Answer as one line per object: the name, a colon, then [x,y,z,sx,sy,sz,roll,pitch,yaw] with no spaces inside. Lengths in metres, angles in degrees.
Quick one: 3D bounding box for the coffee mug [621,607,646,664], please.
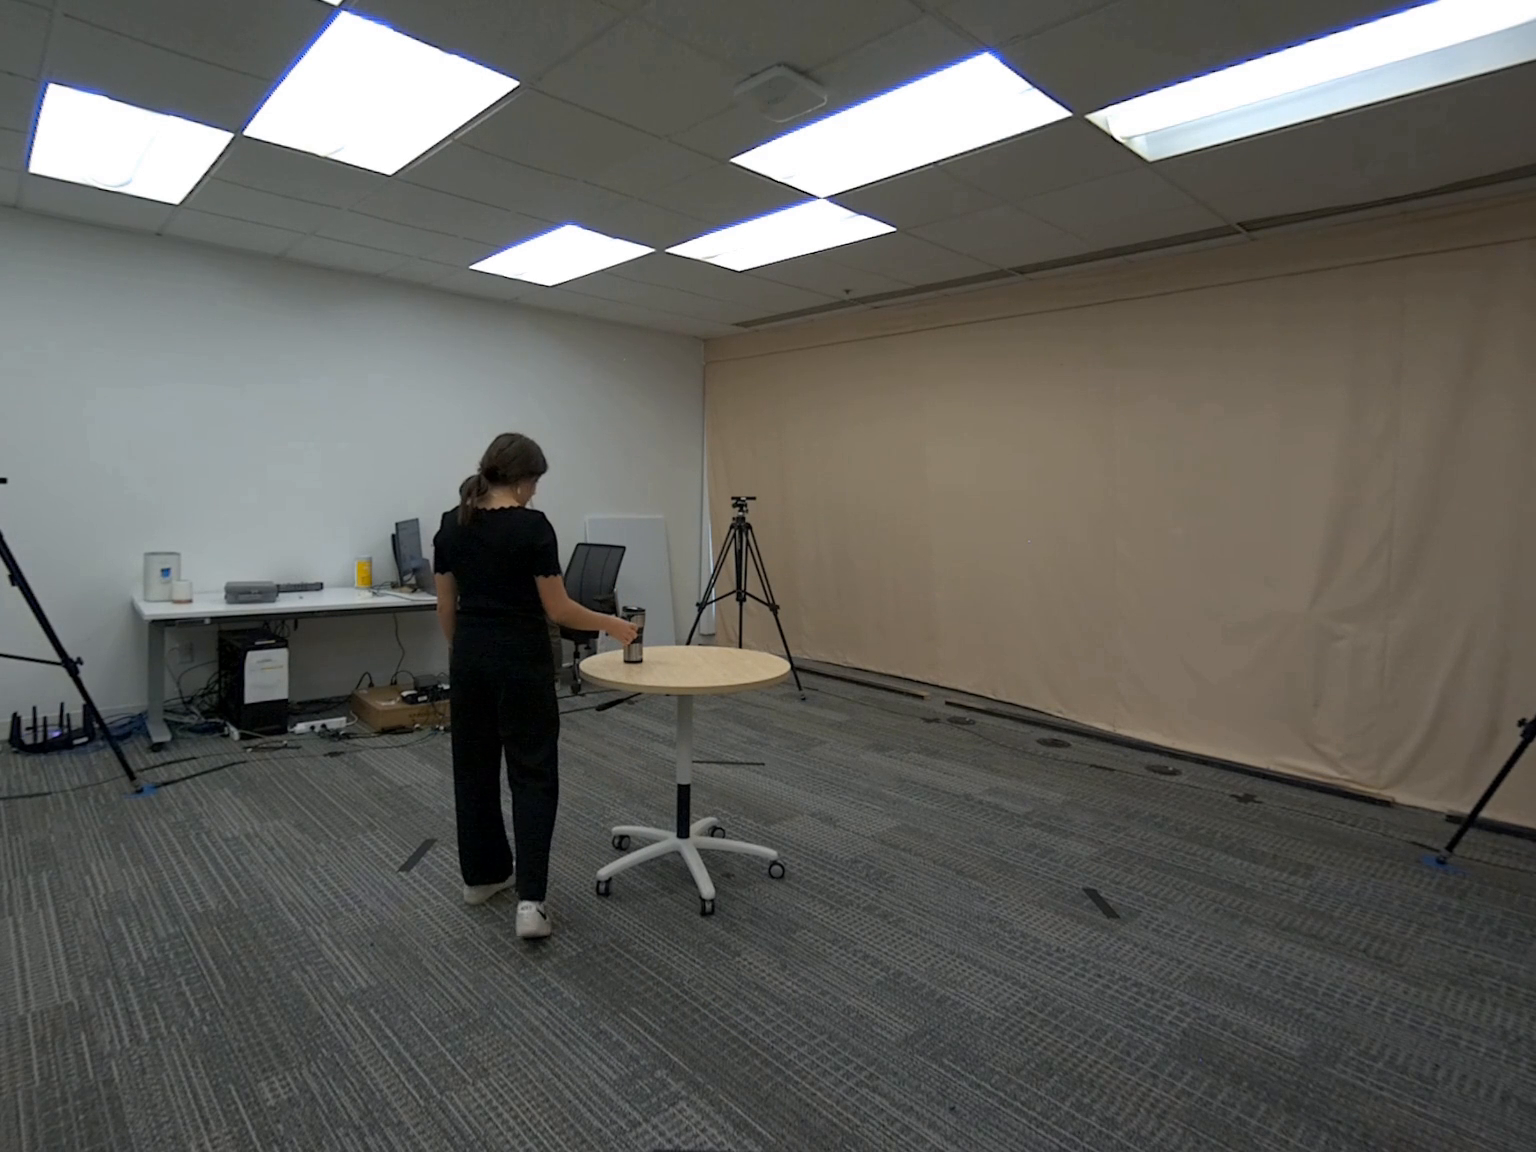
coffee mug: [-0.515,0.217,3.070,0.119,0.202,0.090,4,5,-35]
